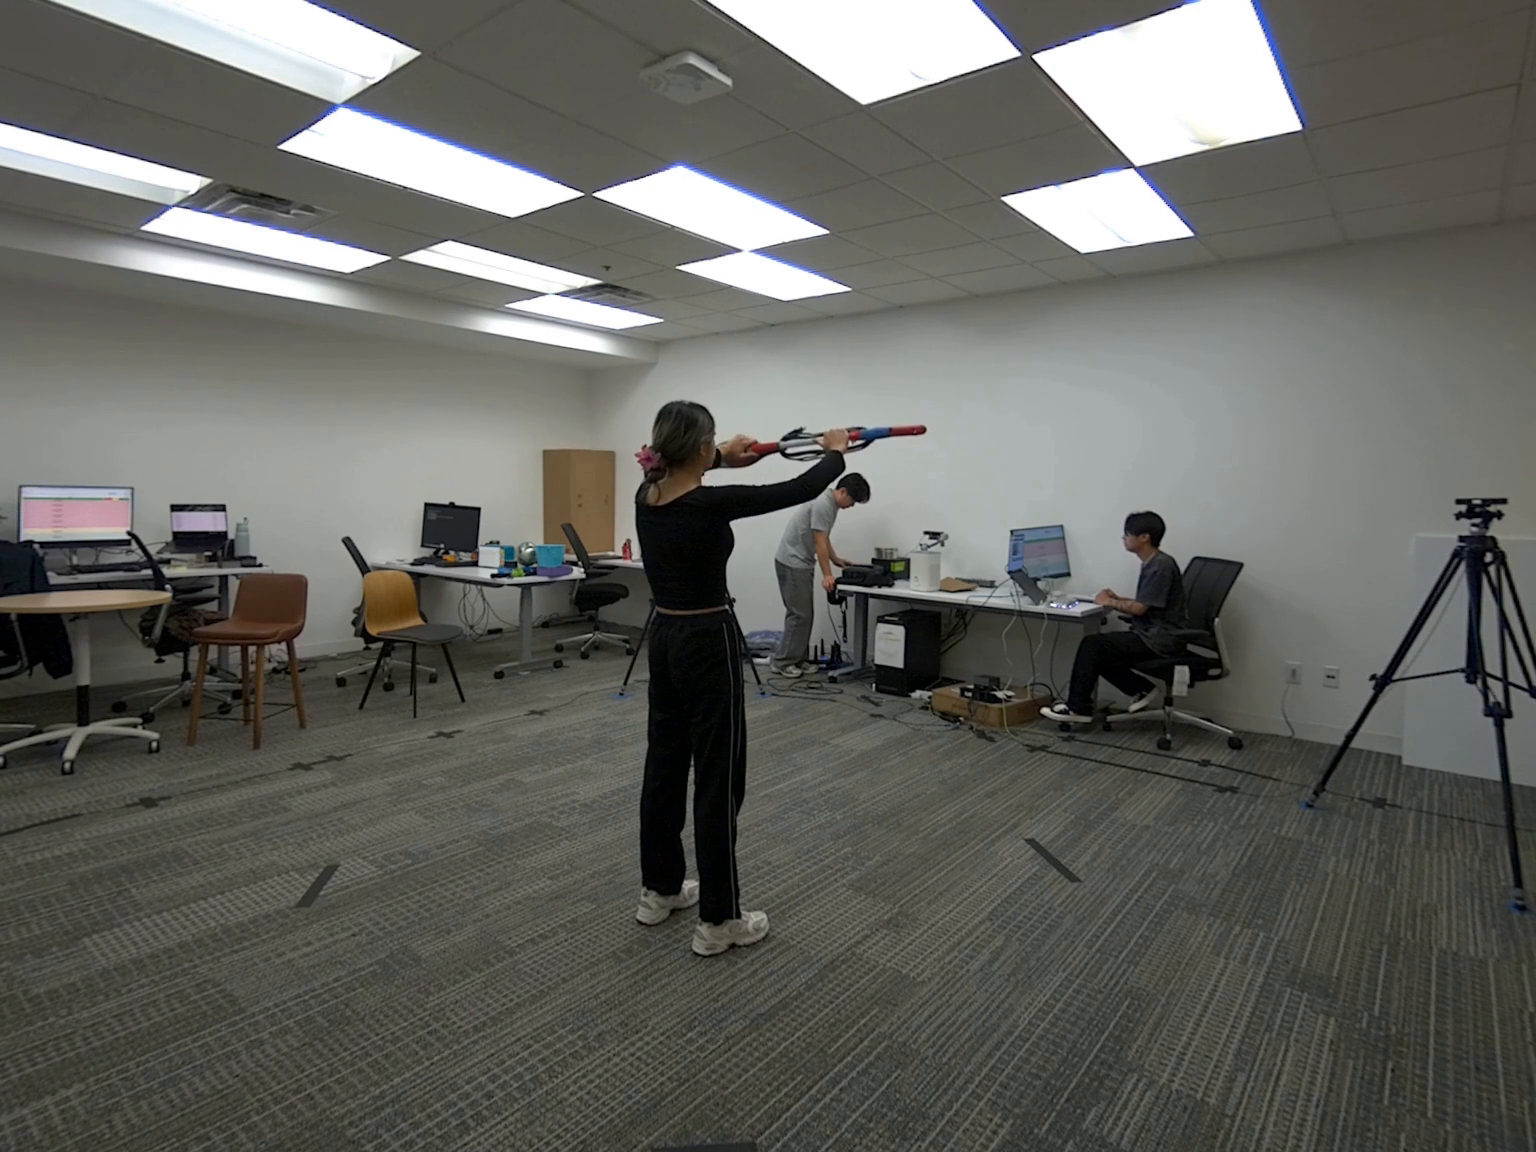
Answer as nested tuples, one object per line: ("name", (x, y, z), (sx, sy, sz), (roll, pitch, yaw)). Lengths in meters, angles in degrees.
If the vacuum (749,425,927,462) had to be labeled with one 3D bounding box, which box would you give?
("vacuum", (0.059, -0.448, 2.989), (1.082, 0.252, 0.140), (0, 6, 42))
